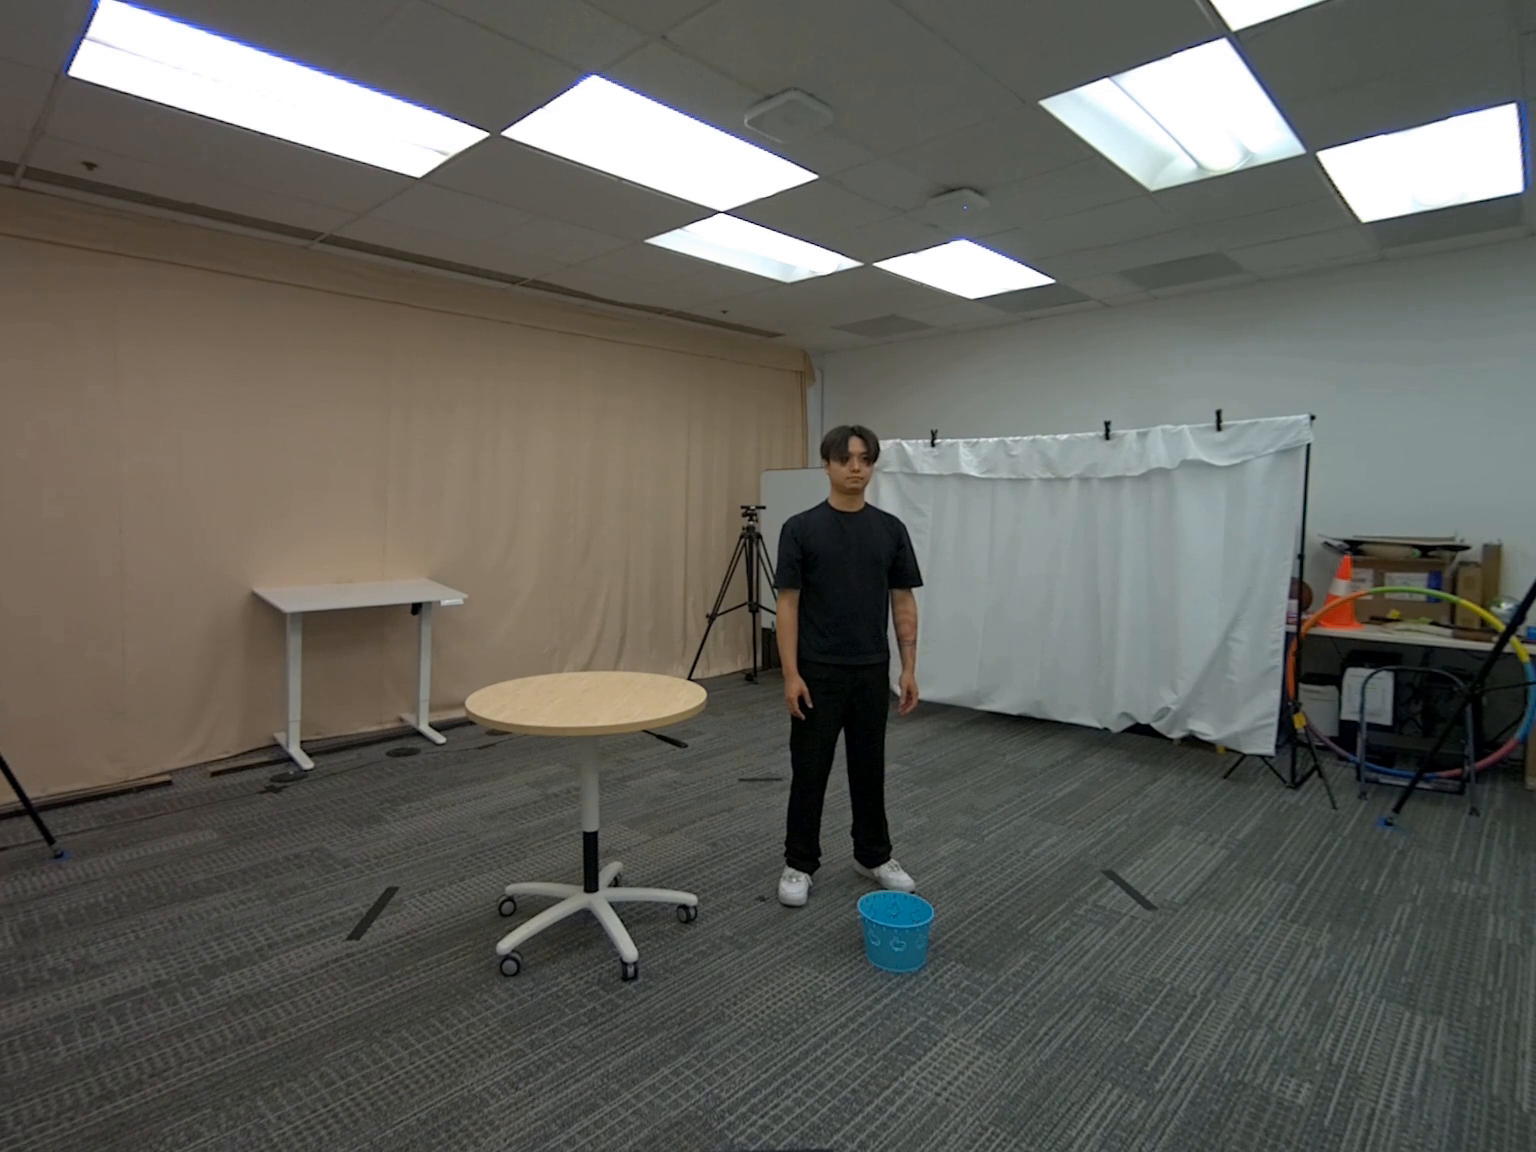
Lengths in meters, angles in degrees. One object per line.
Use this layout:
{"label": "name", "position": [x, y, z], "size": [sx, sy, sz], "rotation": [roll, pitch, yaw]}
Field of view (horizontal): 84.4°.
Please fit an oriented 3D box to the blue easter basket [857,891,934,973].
{"label": "blue easter basket", "position": [0.399, 1.095, 2.598], "size": [0.243, 0.155, 0.244], "rotation": [0, 4, -2]}
